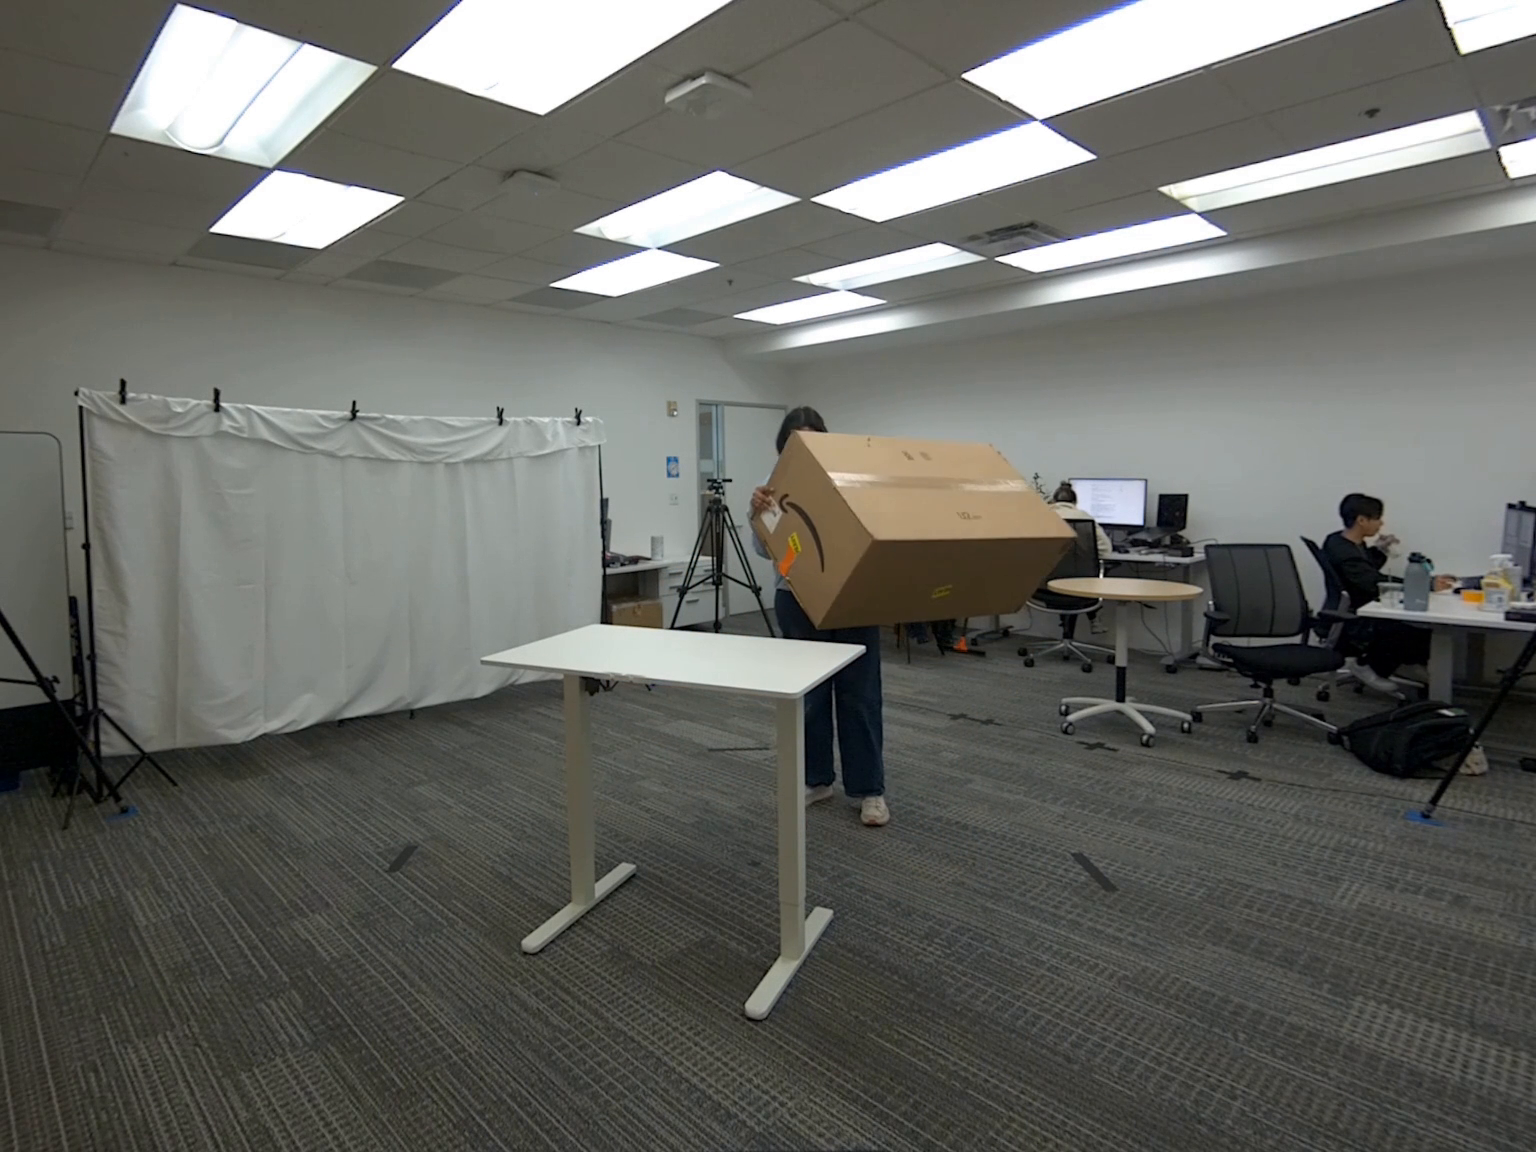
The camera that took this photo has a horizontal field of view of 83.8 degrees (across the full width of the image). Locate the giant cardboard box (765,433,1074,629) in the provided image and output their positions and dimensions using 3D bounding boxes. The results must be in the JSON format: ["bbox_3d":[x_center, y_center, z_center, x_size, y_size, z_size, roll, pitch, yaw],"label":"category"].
[{"bbox_3d":[0.539,-0.178,3.227,1.000,0.421,0.599,-2,44,-32],"label":"giant cardboard box"}]
